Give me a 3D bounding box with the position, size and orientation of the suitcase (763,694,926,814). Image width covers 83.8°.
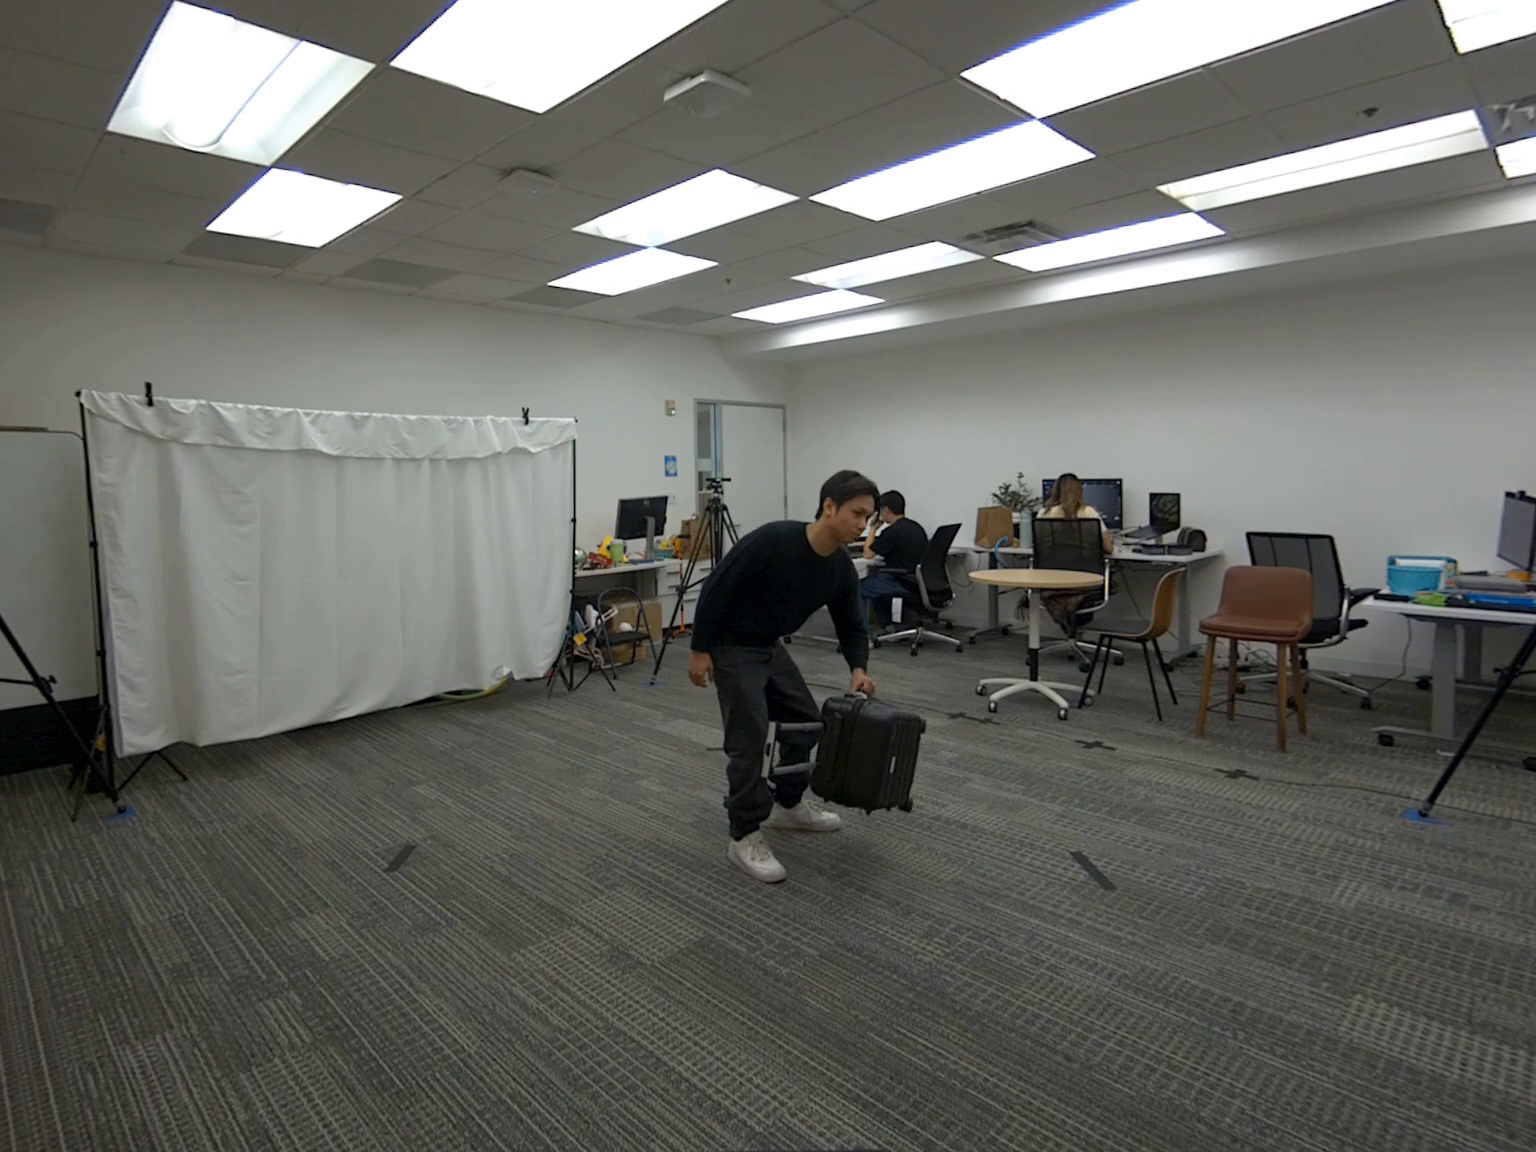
[{"bbox_3d":[0.287,0.593,2.866,0.264,0.386,0.948,8,-8,25],"label":"suitcase"}]
